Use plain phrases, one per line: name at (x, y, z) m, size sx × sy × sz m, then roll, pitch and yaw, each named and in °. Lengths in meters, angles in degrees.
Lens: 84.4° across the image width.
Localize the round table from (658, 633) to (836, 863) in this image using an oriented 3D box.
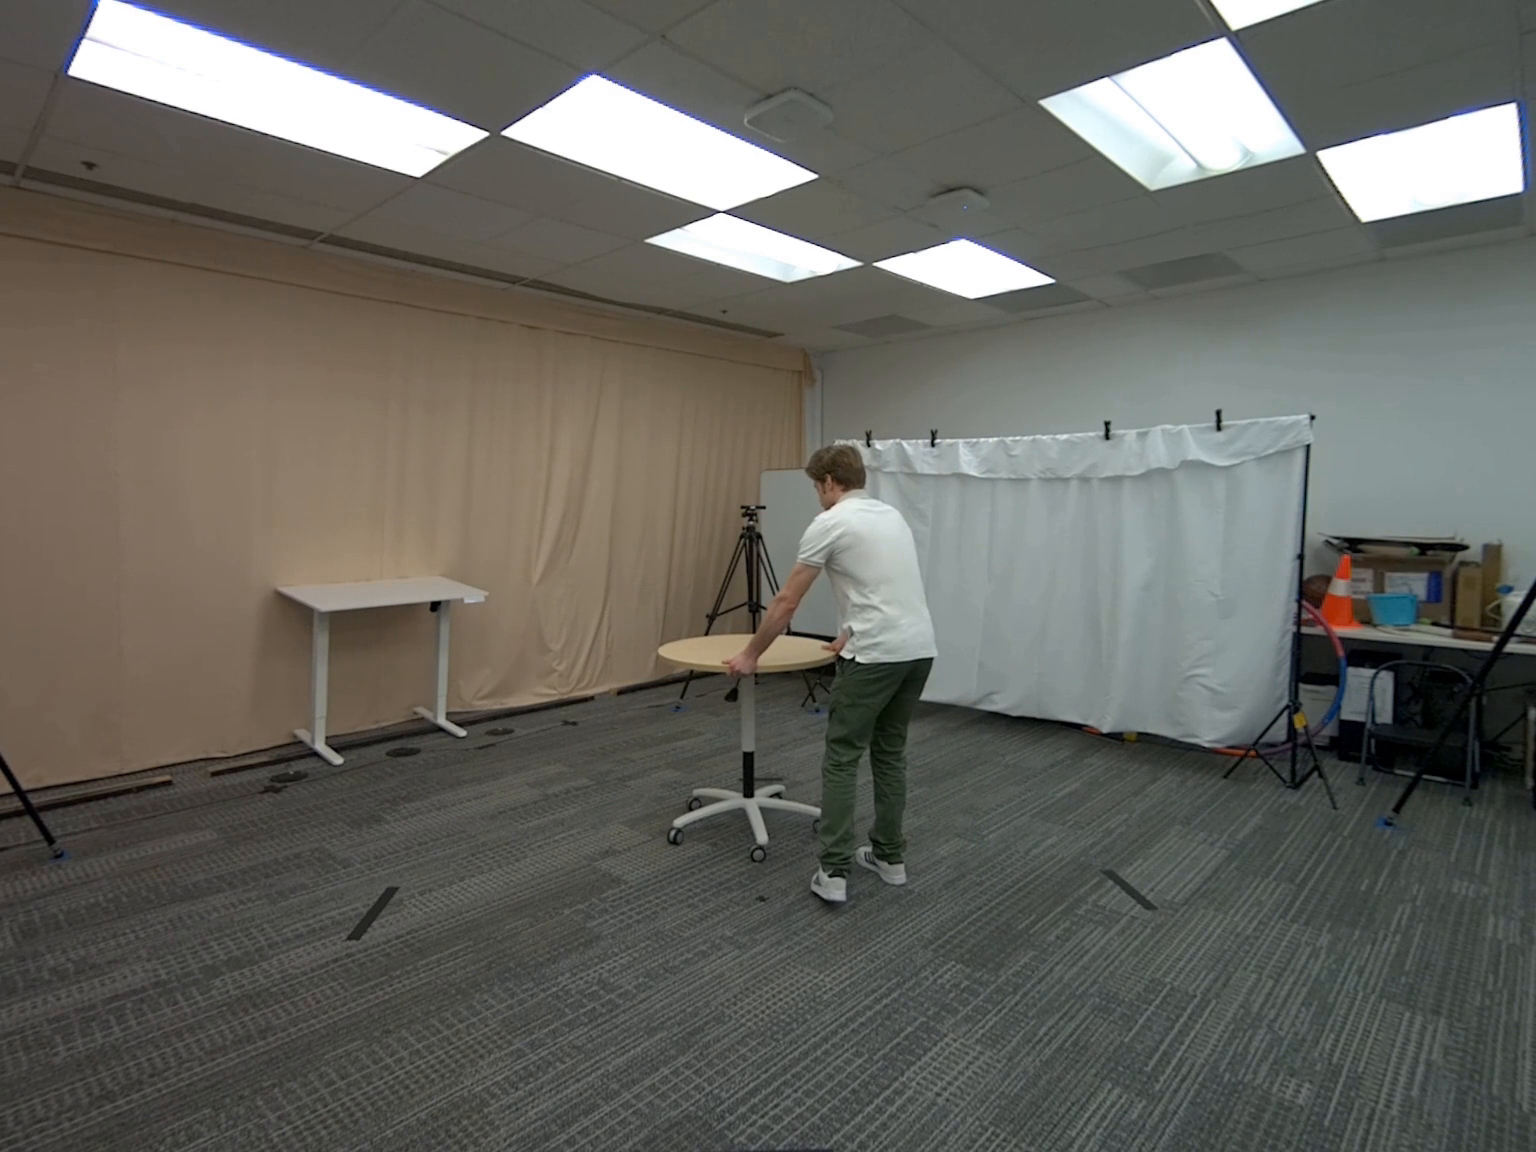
round table at (-0.077, 0.698, 3.605) m, size 0.784 × 0.785 × 0.788 m, roll 0°, pitch 4°, yaw -2°
